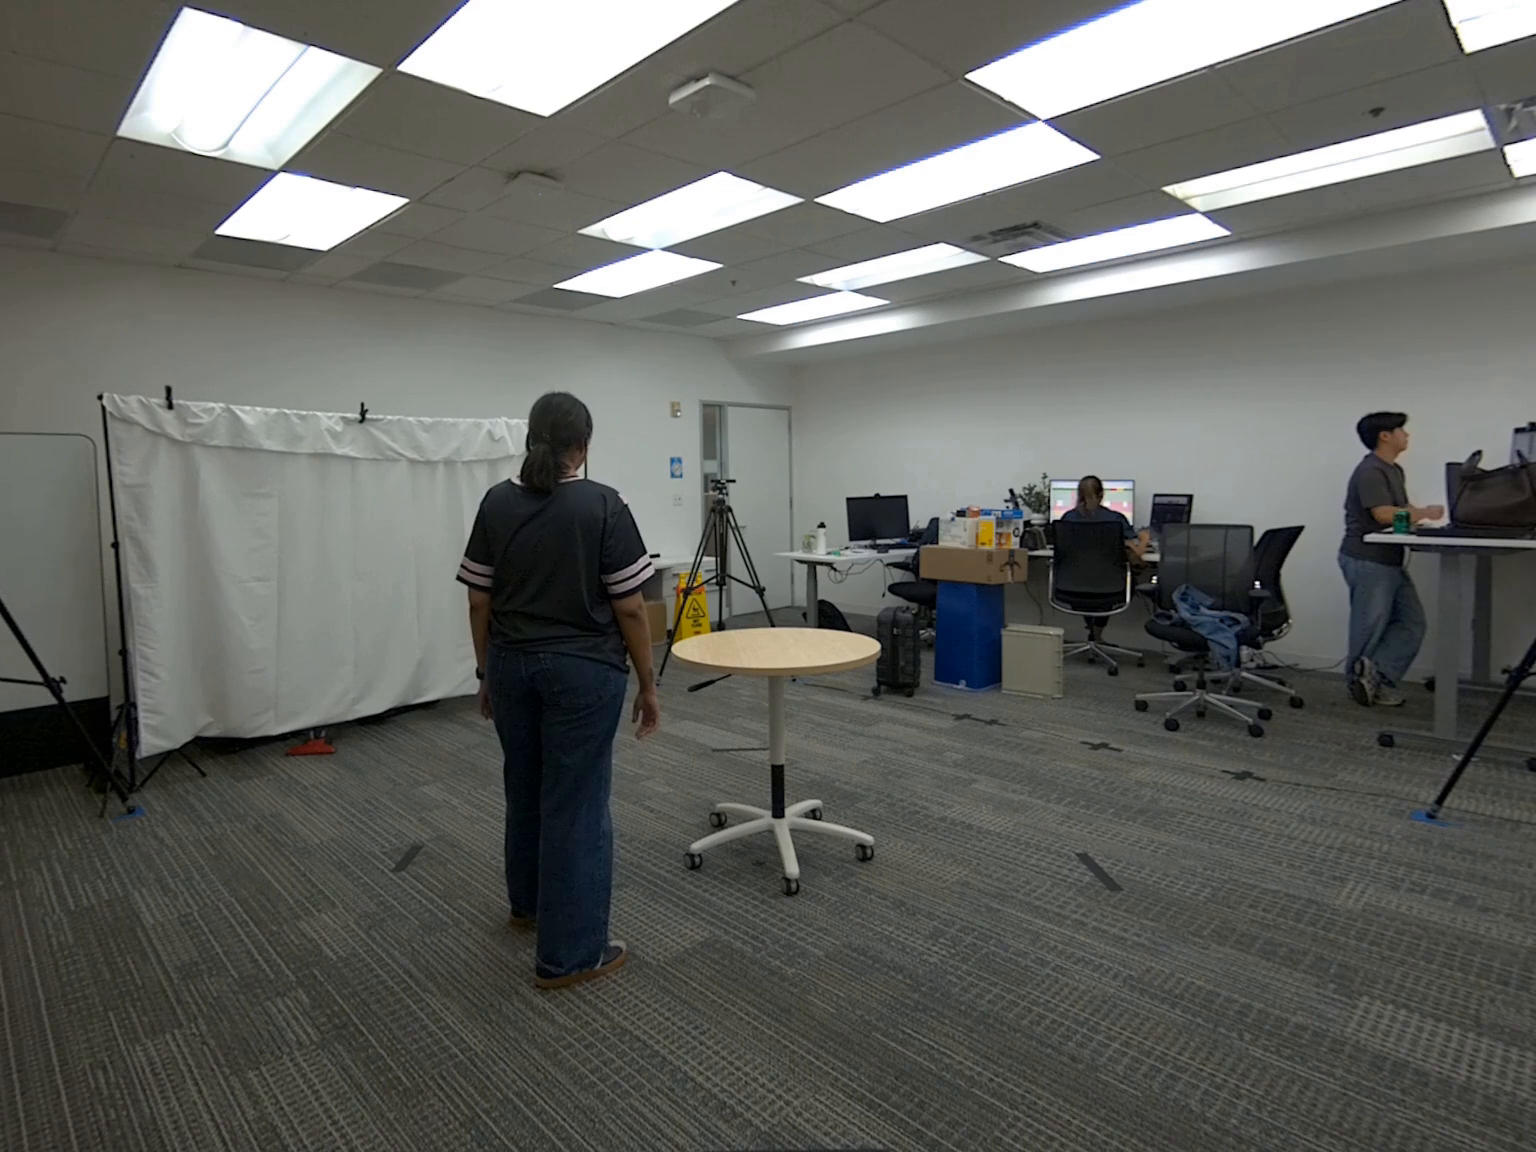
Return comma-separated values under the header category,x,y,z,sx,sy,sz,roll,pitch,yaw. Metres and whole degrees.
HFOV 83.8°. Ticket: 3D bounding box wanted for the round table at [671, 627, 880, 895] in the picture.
category,x,y,z,sx,sy,sz,roll,pitch,yaw
round table,0.034,0.649,3.170,0.763,0.791,0.768,-1,5,-2
